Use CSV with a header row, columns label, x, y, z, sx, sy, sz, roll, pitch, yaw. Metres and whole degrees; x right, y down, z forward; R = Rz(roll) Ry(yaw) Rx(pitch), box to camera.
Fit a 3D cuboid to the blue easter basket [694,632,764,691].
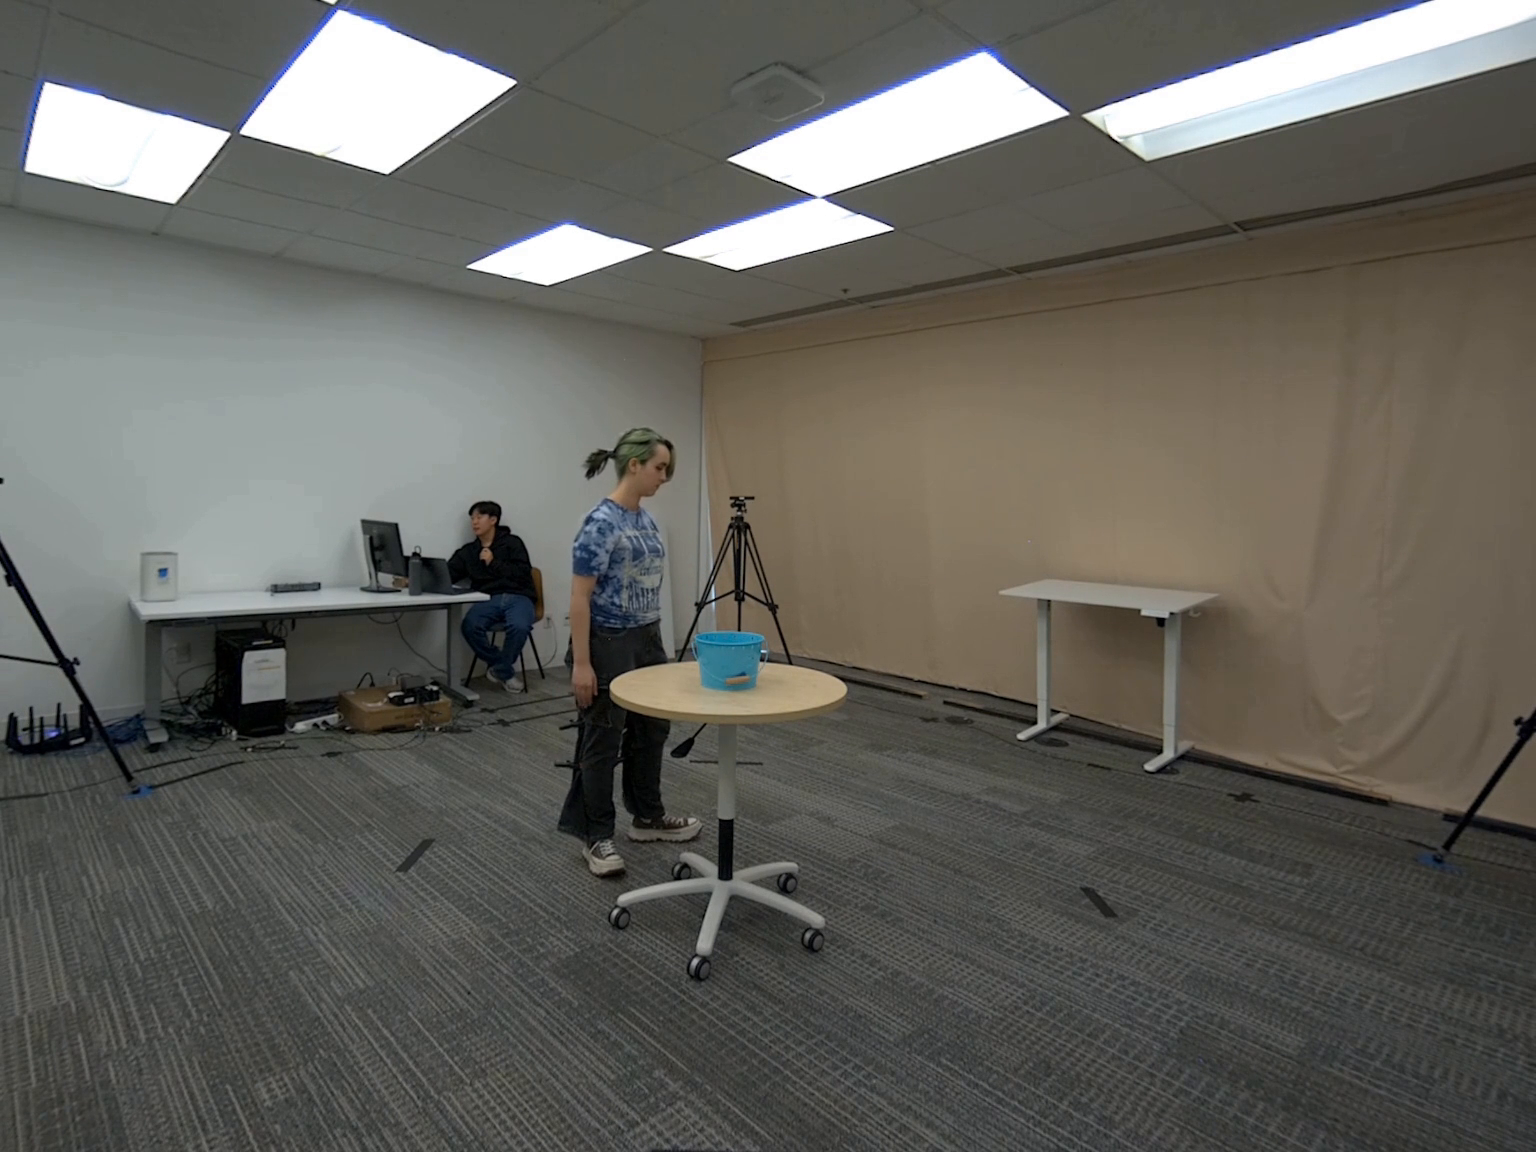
label,x,y,z,sx,sy,sz,roll,pitch,yaw
blue easter basket,-0.134,0.282,2.721,0.243,0.155,0.244,1,4,-1
